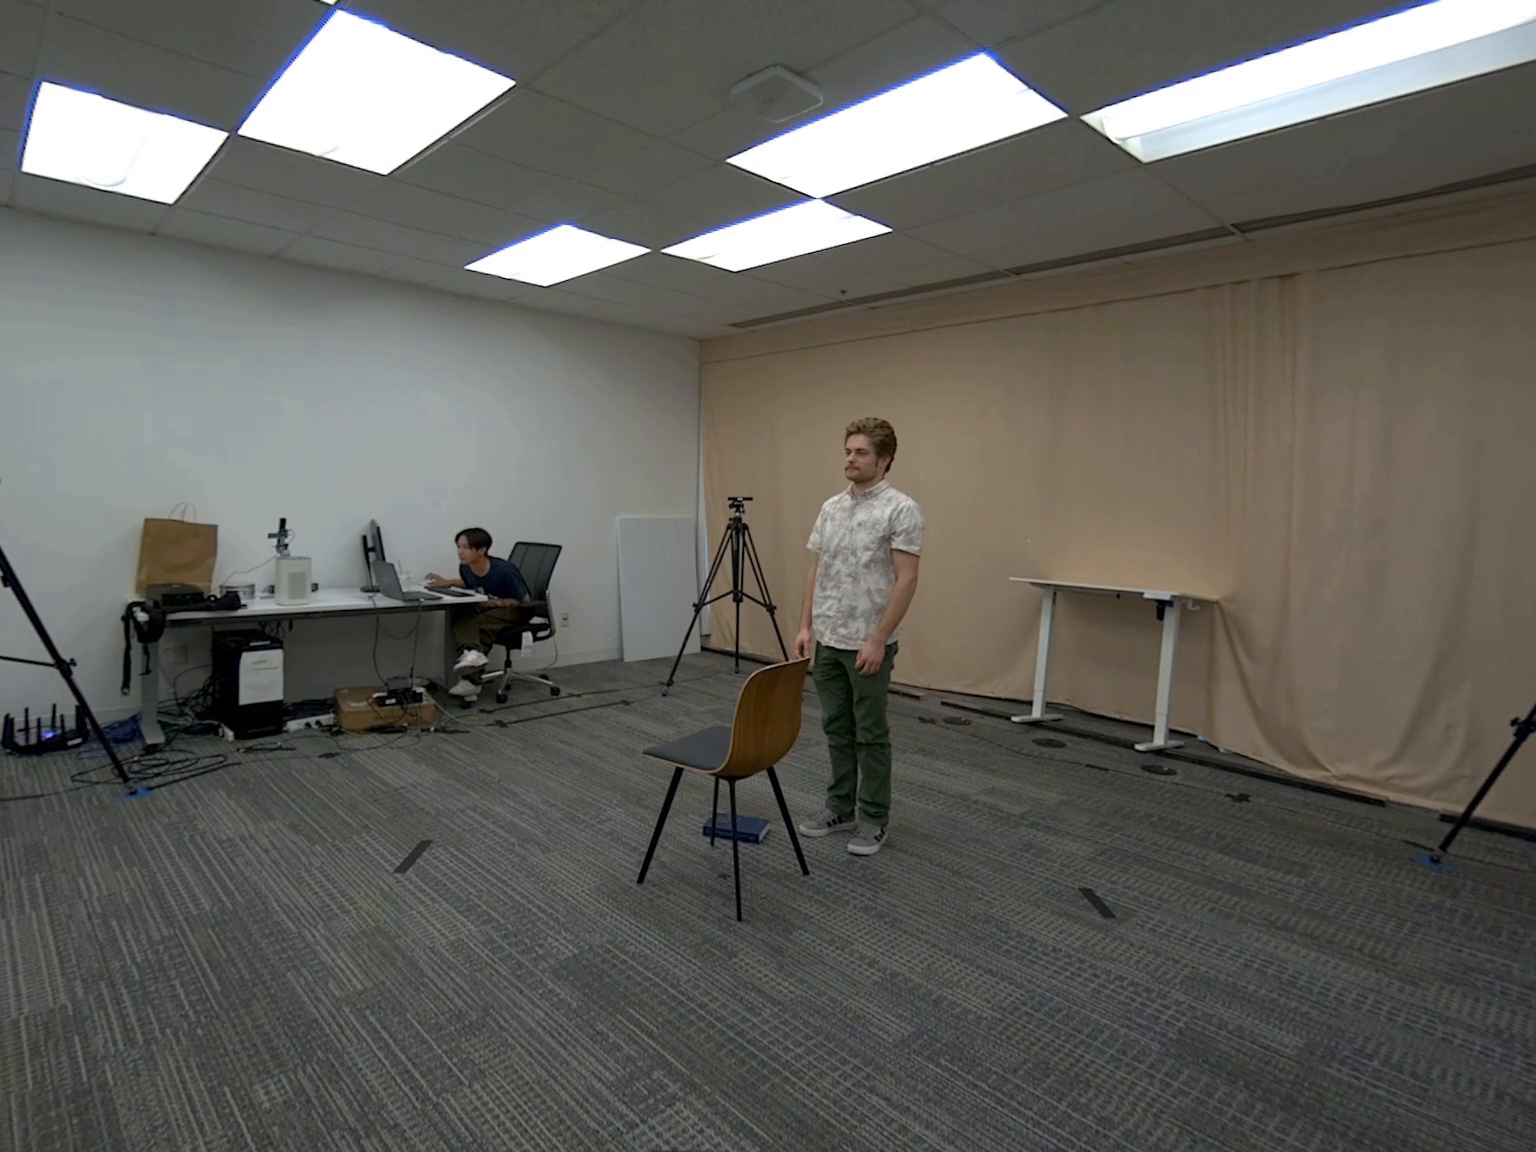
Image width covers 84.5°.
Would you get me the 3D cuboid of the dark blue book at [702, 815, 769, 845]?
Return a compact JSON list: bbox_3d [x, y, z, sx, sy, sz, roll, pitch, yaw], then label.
[{"bbox_3d":[-0.135,1.044,3.512,0.249,0.045,0.161,3,4,18],"label":"dark blue book"}]
